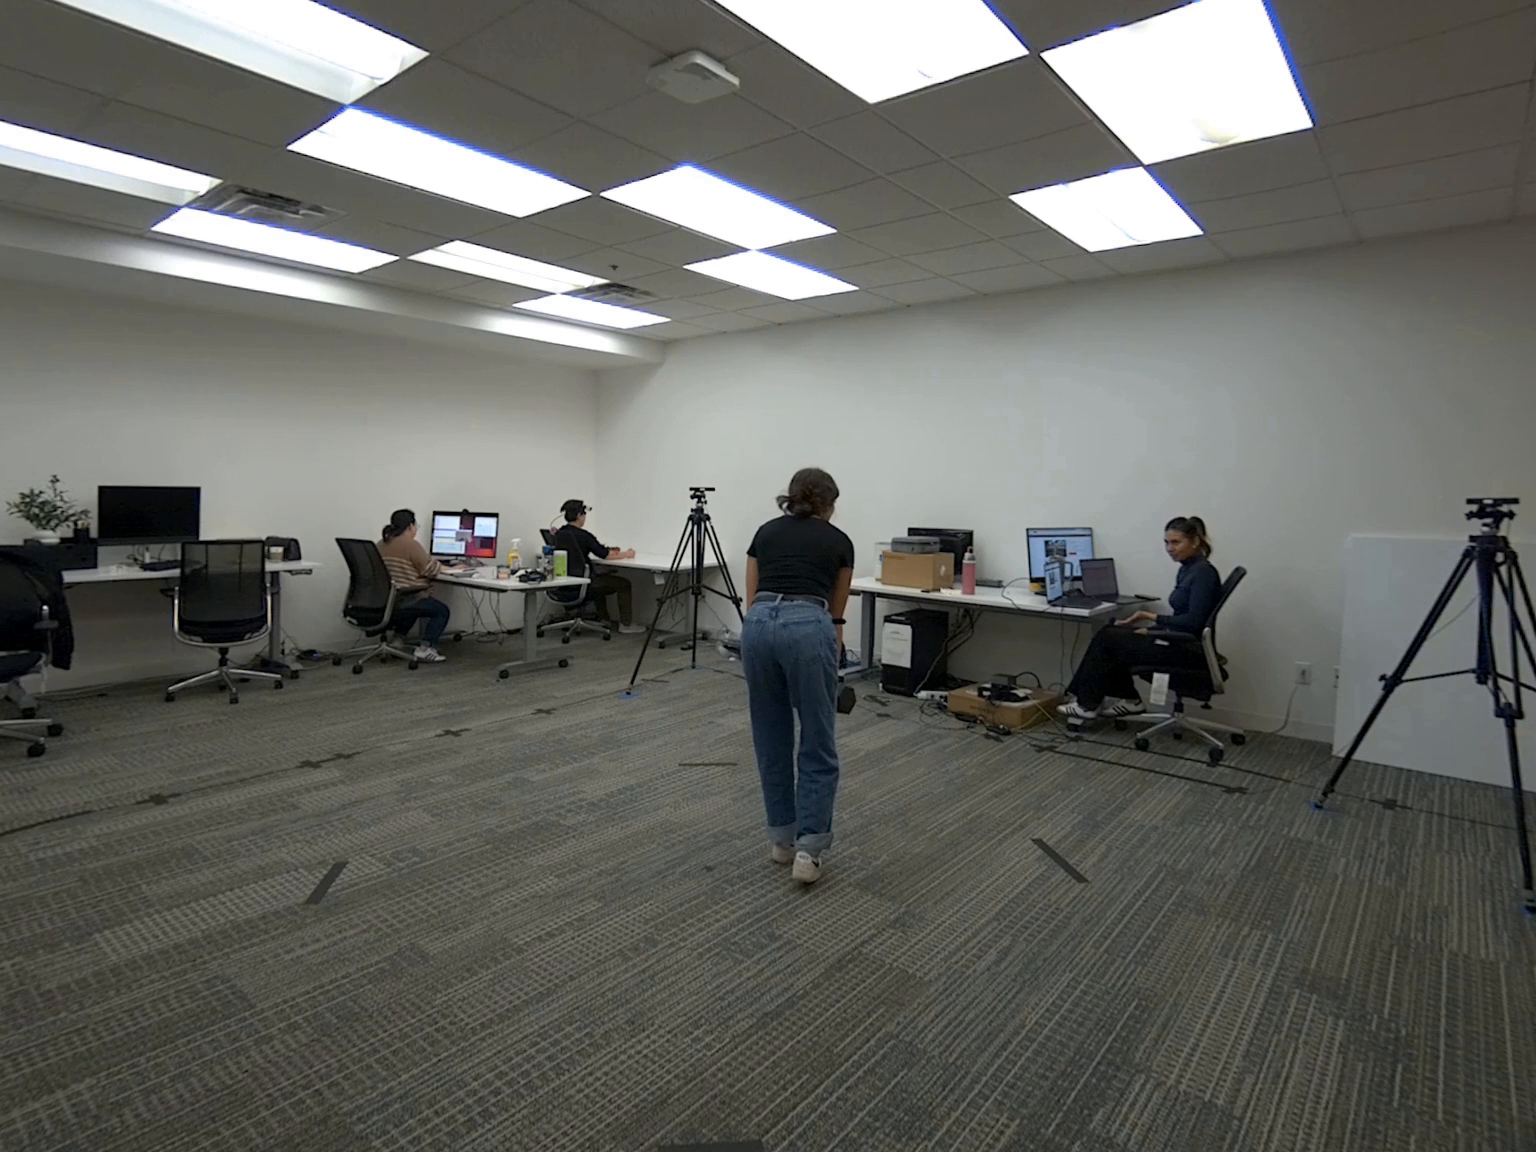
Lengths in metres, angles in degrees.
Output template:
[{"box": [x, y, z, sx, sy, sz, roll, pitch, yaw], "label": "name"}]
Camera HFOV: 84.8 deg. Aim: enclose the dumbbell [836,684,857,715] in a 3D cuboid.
[{"box": [0.188, 0.465, 3.276, 0.302, 0.105, 0.123, -3, 40, 47], "label": "dumbbell"}]
